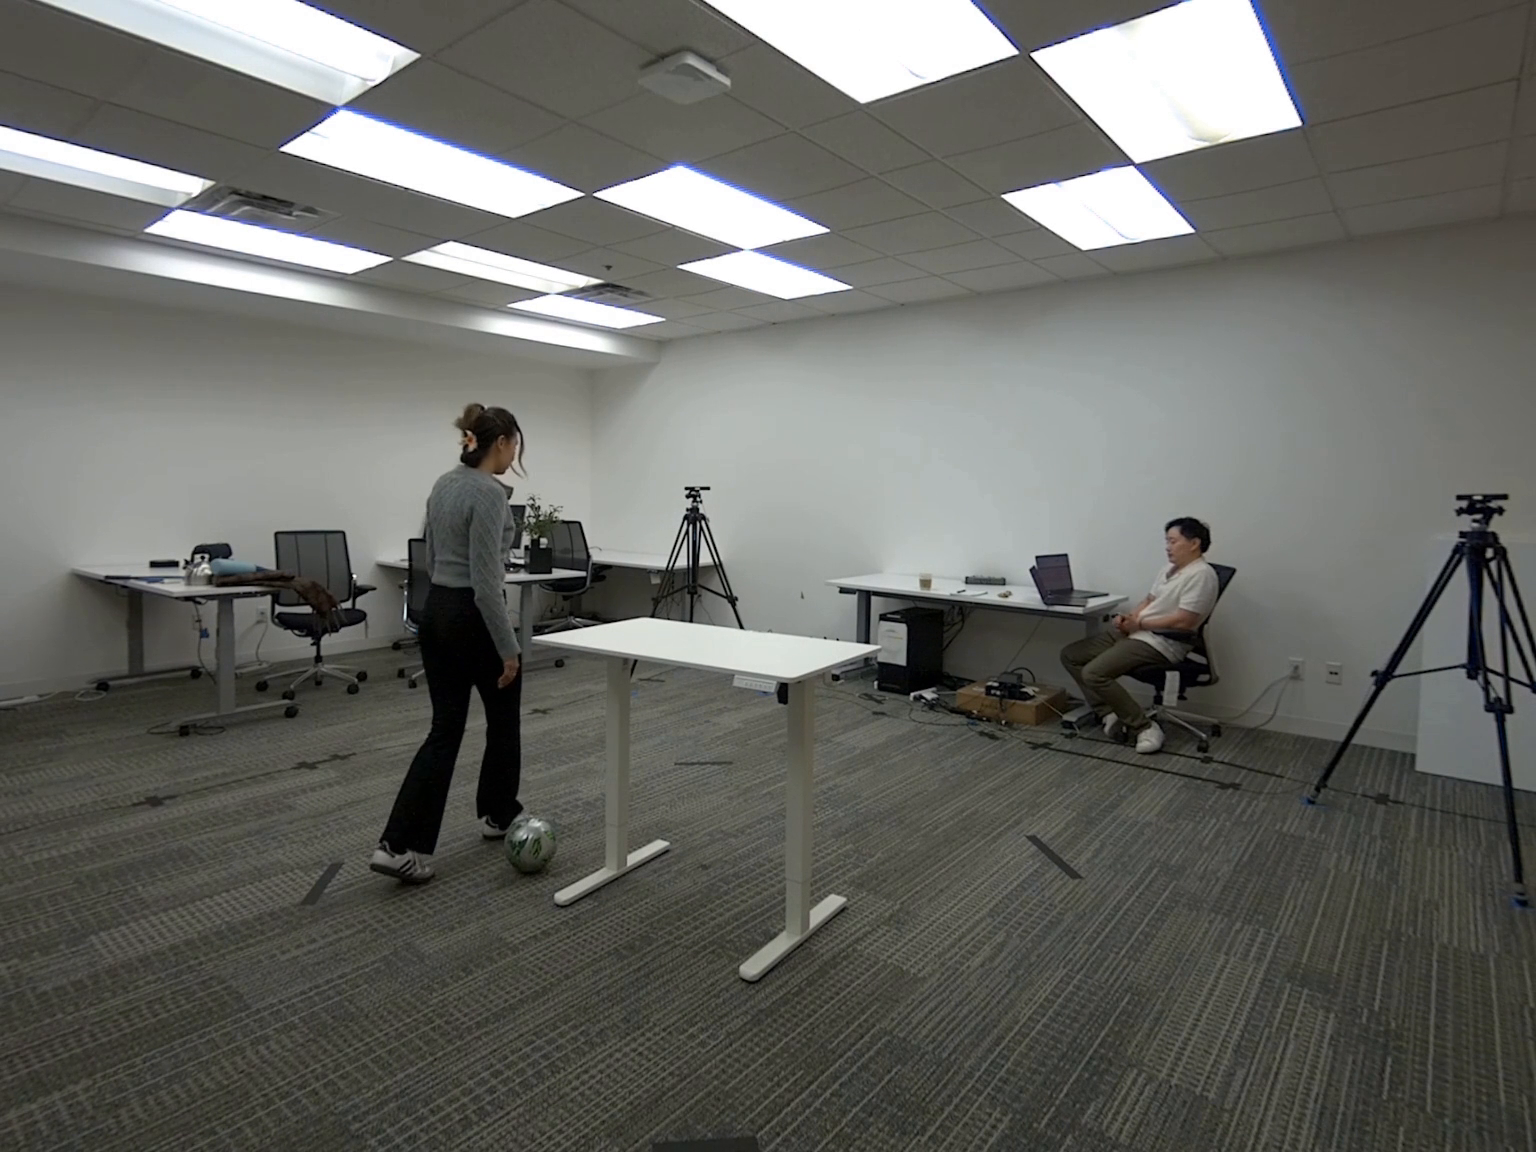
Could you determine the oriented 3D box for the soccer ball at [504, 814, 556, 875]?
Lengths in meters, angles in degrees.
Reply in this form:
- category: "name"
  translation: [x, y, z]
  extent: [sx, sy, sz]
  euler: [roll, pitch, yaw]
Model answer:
- category: "soccer ball"
  translation: [-0.868, 0.971, 3.063]
  extent: [0.187, 0.187, 0.188]
  euler: [0, 4, -2]
